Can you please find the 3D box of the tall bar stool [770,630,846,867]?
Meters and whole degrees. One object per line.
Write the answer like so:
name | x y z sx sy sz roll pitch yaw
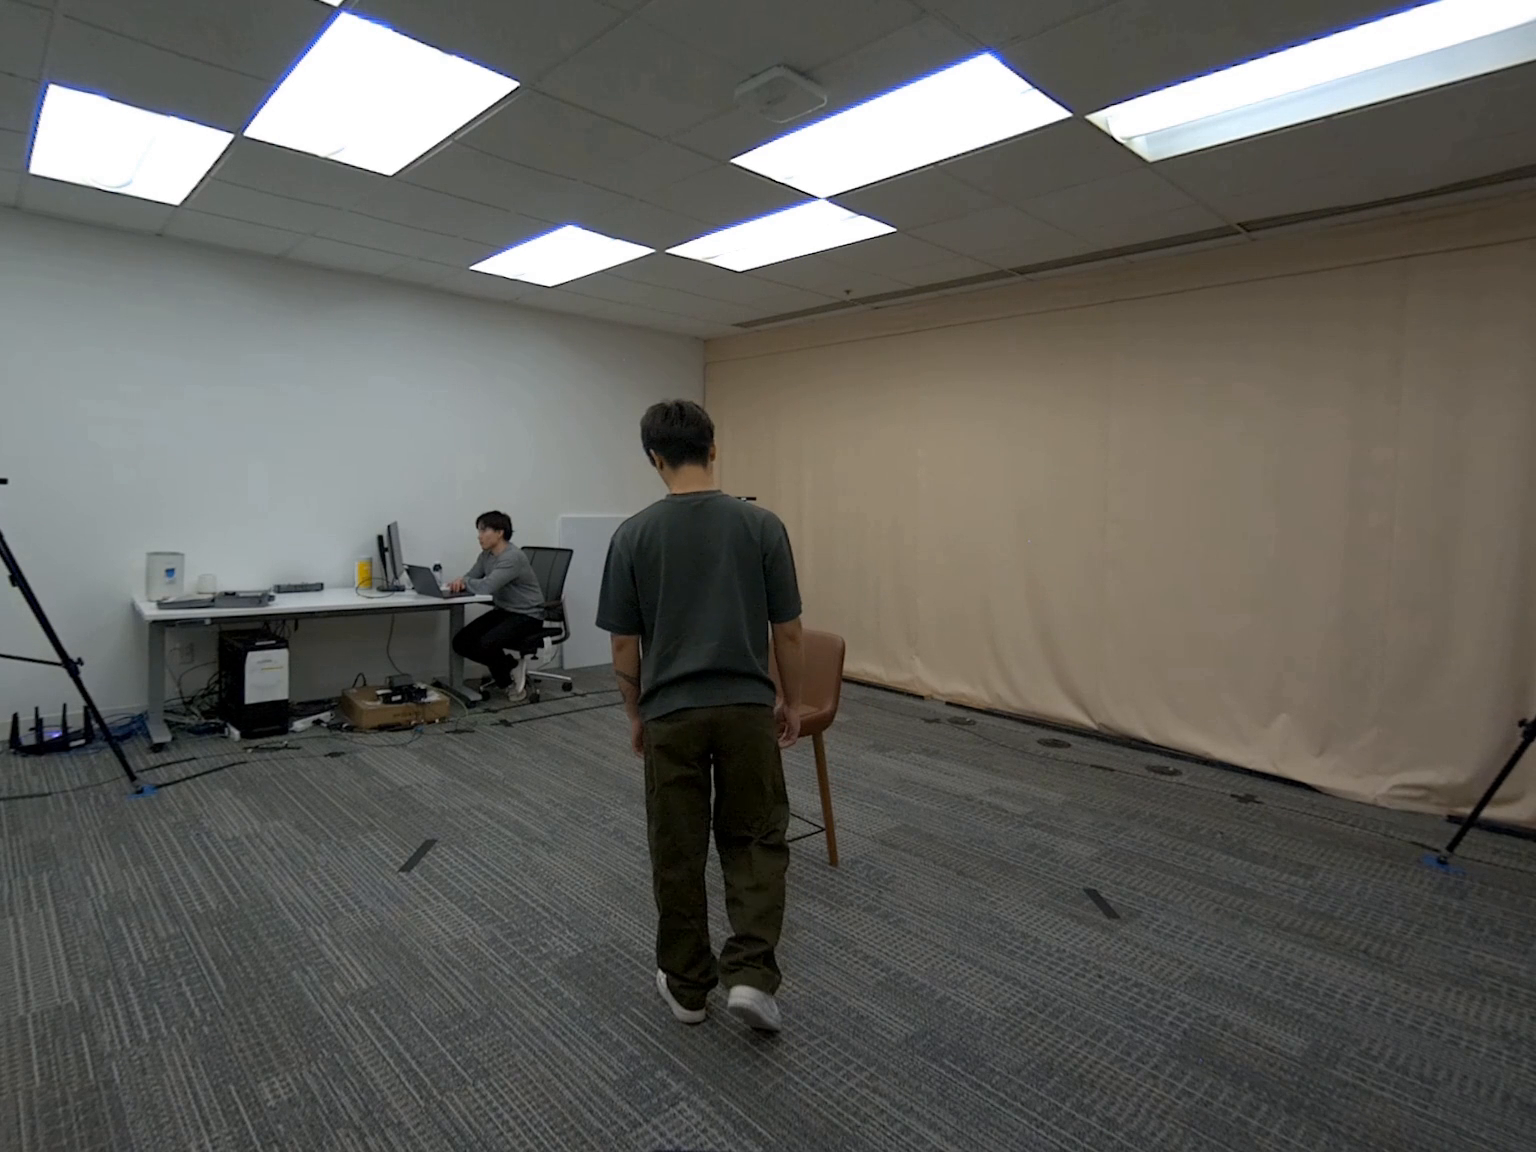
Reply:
tall bar stool | -0.007 0.666 3.215 0.456 0.888 0.468 1 3 -39
